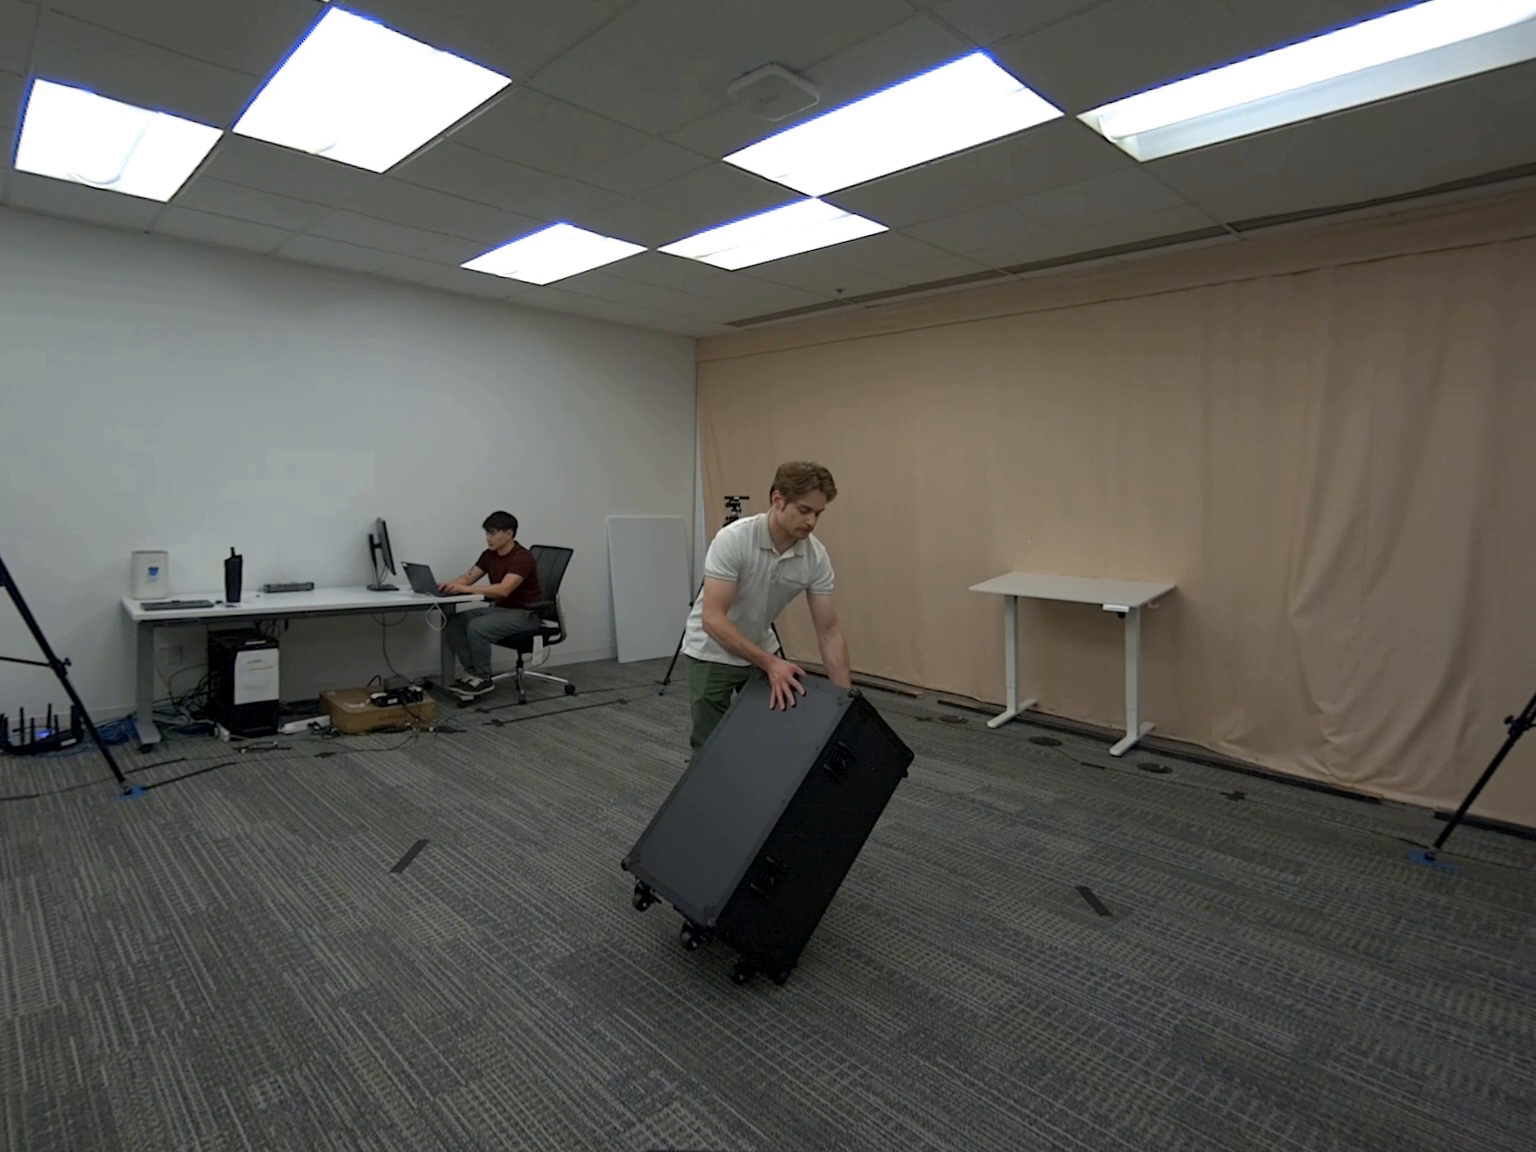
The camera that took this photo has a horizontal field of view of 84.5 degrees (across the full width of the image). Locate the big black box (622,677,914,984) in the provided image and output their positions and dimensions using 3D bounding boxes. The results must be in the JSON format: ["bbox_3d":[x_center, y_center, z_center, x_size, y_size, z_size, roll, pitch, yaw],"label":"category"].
[{"bbox_3d":[-0.020,0.760,2.612,0.537,0.870,0.374,8,-34,51],"label":"big black box"}]
